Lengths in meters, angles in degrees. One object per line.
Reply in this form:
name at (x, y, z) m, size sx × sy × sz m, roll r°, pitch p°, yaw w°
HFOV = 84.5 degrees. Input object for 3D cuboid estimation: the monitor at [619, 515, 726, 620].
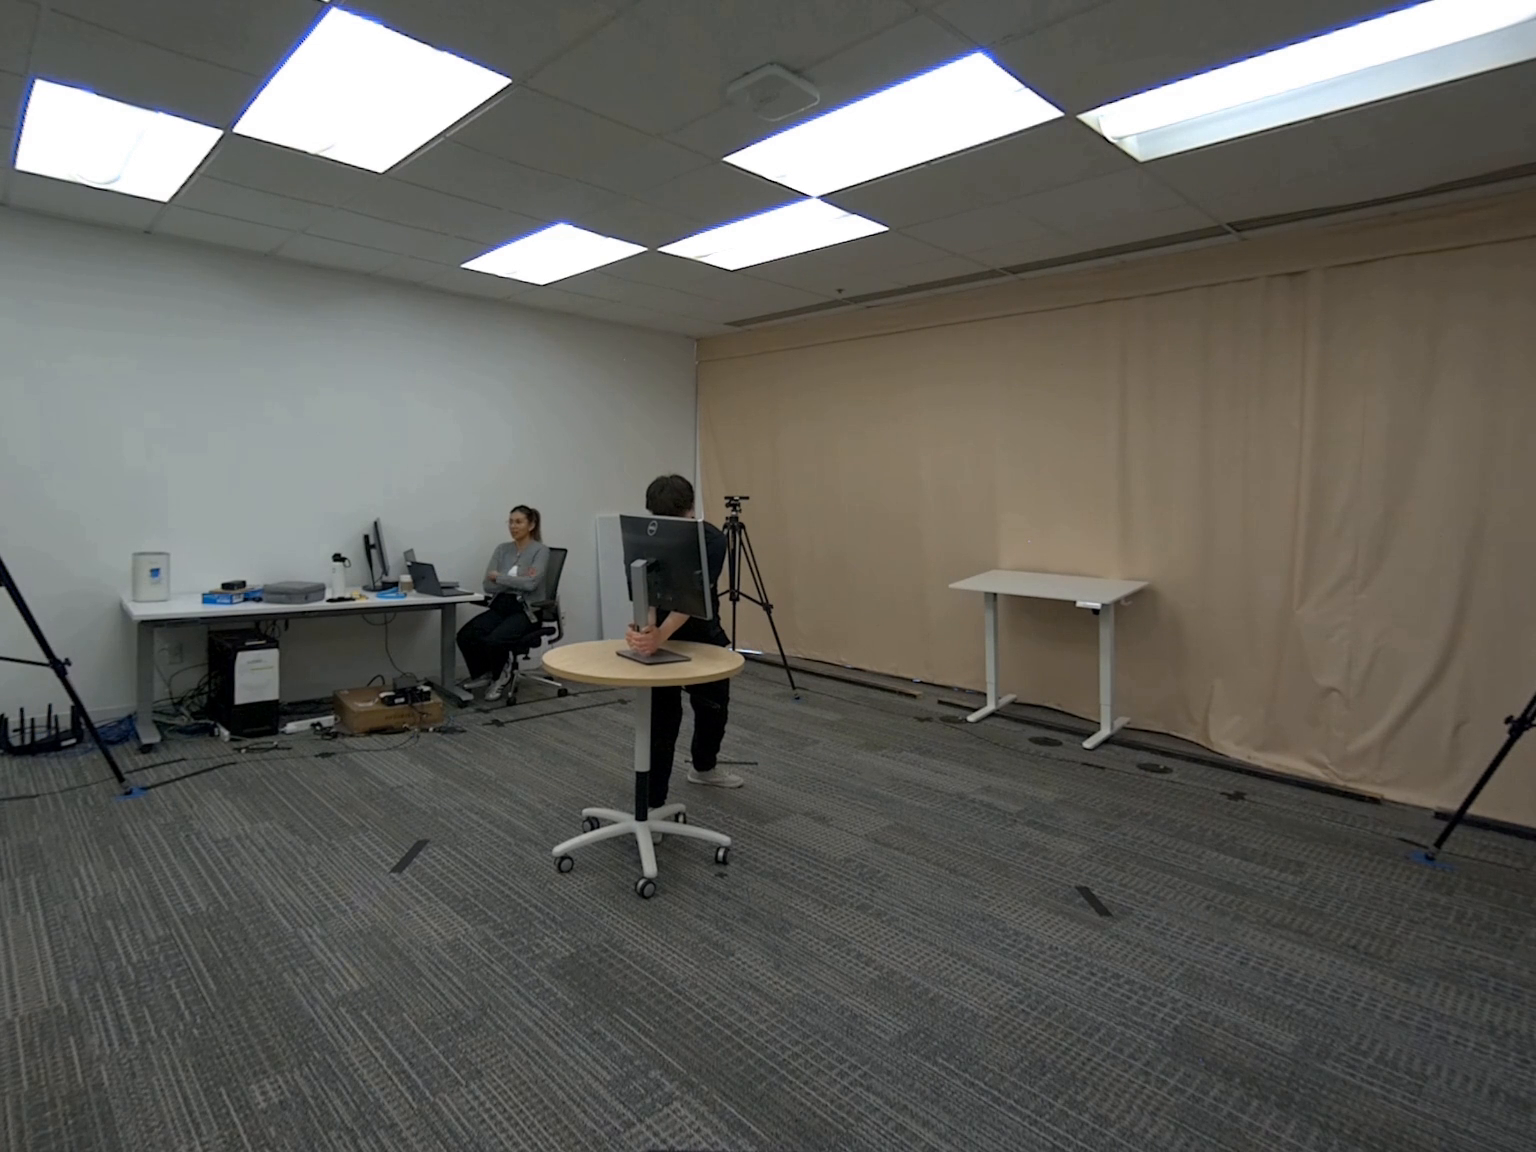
monitor at (-0.439, 0.049, 3.191) m, size 0.182 × 0.522 × 0.553 m, roll 1°, pitch 3°, yaw -41°
